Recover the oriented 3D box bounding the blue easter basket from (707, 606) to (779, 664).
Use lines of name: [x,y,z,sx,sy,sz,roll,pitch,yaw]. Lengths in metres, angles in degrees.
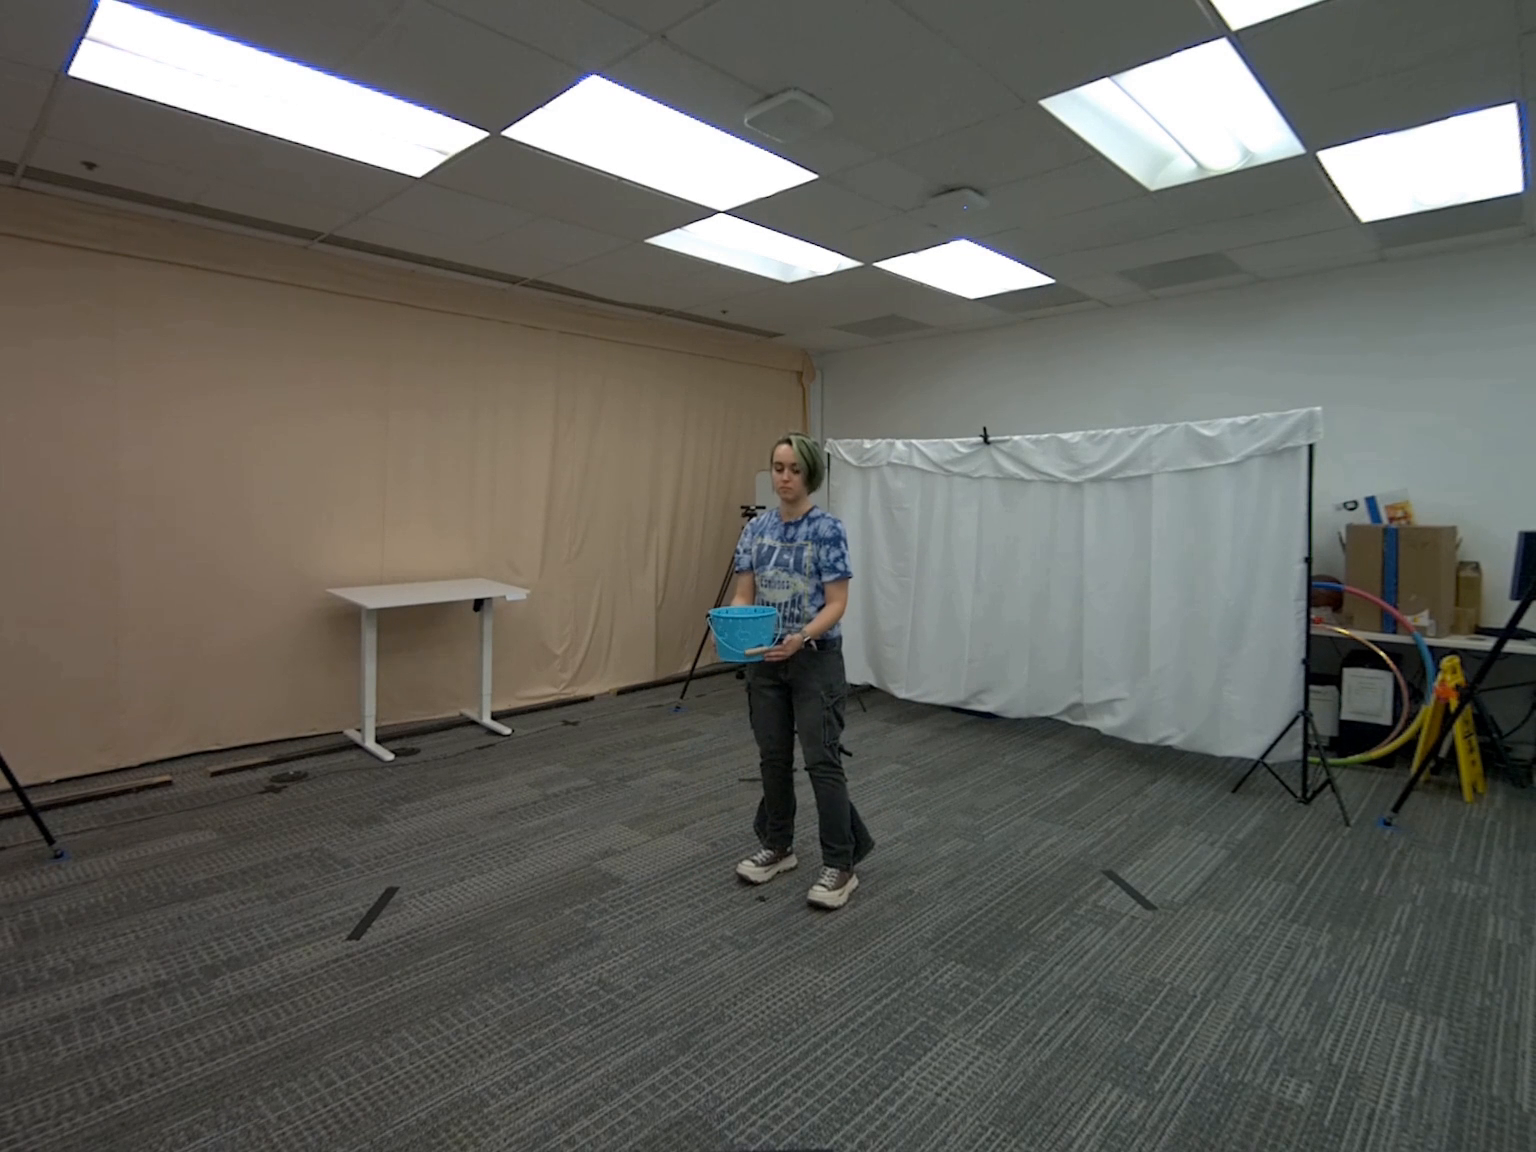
blue easter basket: [-0.071,0.195,2.801,0.243,0.155,0.244,-2,5,-2]
